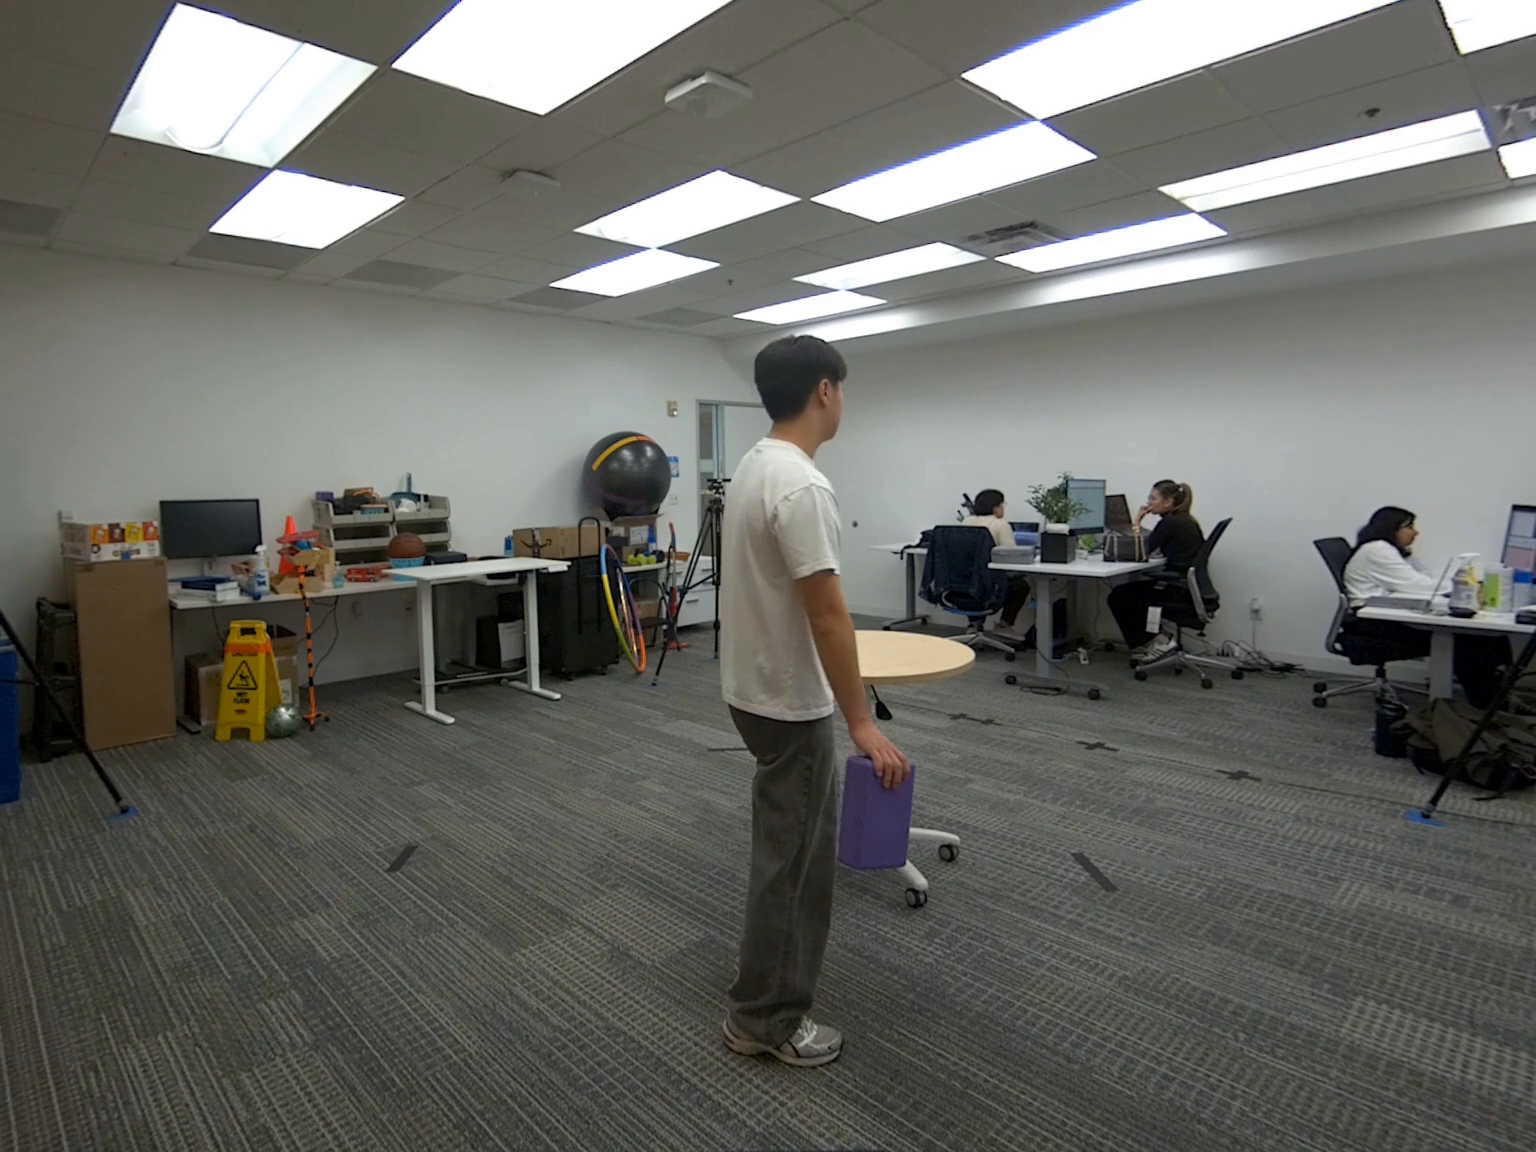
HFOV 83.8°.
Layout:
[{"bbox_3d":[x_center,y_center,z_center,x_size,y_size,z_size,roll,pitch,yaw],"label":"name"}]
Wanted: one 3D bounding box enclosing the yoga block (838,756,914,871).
[{"bbox_3d":[0.246,0.519,1.912,0.145,0.230,0.078,7,-3,-31],"label":"yoga block"}]
